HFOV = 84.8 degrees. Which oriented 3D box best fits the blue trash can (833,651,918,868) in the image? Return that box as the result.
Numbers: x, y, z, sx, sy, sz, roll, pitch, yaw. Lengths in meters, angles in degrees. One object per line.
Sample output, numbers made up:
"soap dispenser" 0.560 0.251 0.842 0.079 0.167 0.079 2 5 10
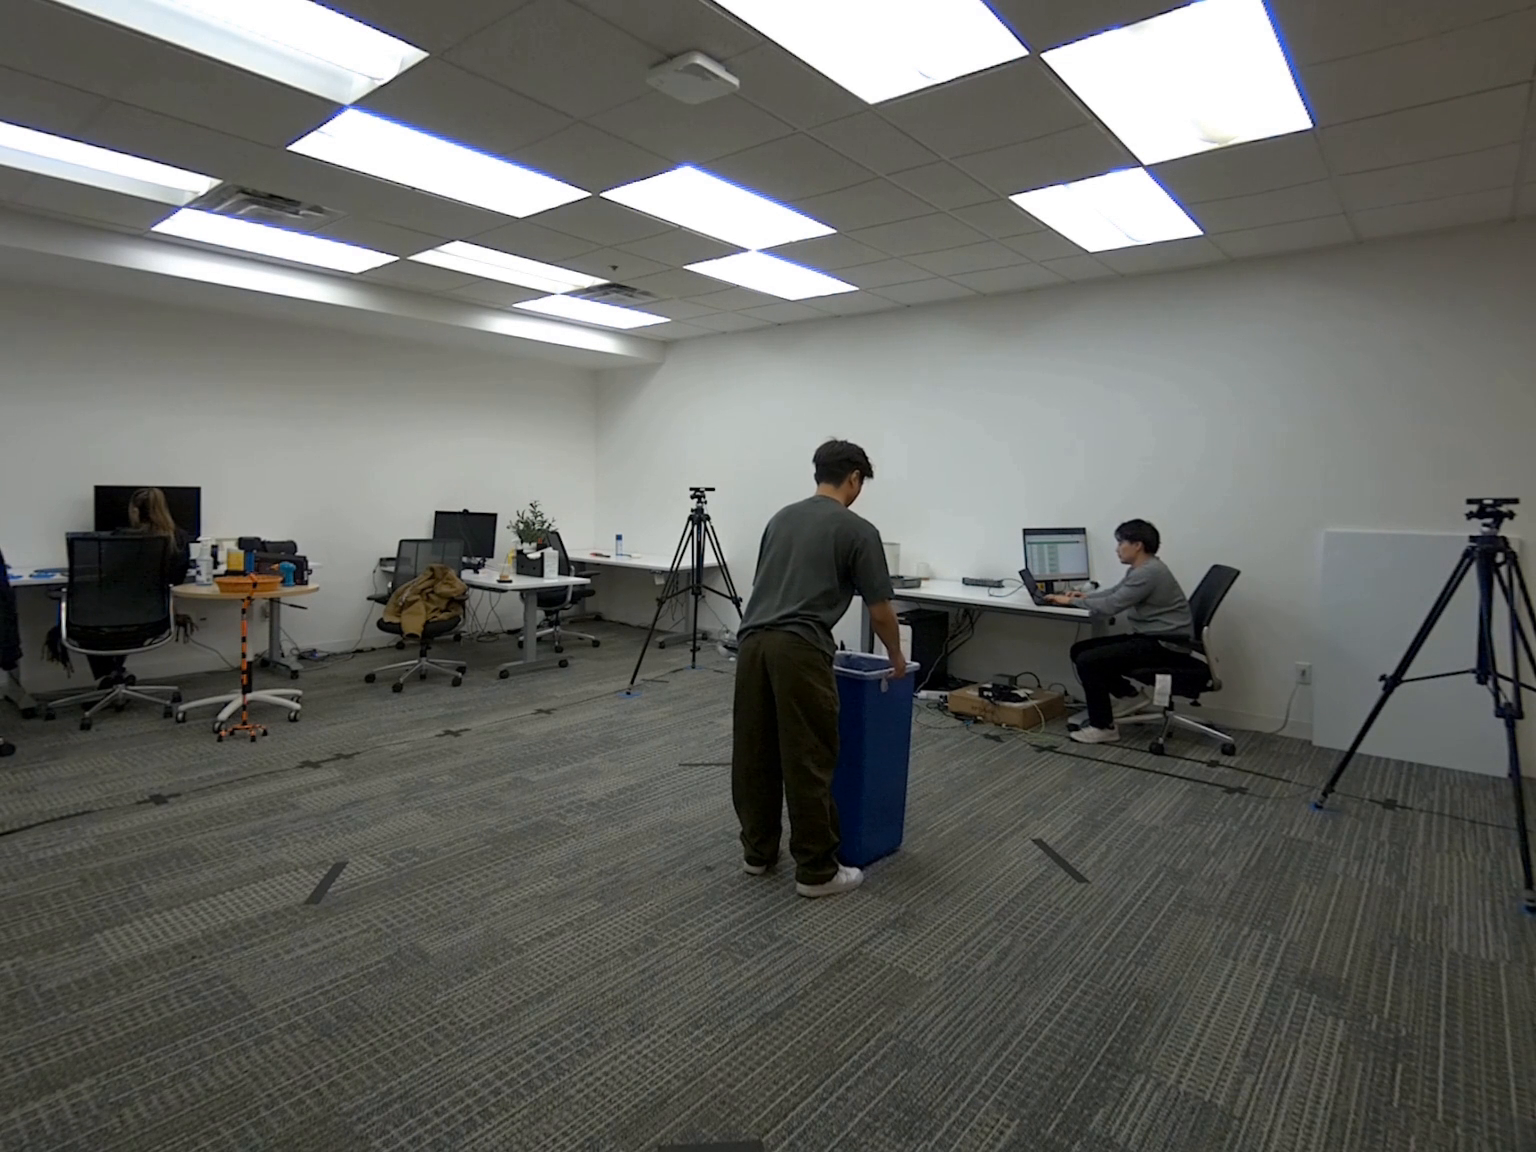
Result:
"blue trash can" 0.315 0.681 3.306 0.387 0.712 0.366 5 3 42
